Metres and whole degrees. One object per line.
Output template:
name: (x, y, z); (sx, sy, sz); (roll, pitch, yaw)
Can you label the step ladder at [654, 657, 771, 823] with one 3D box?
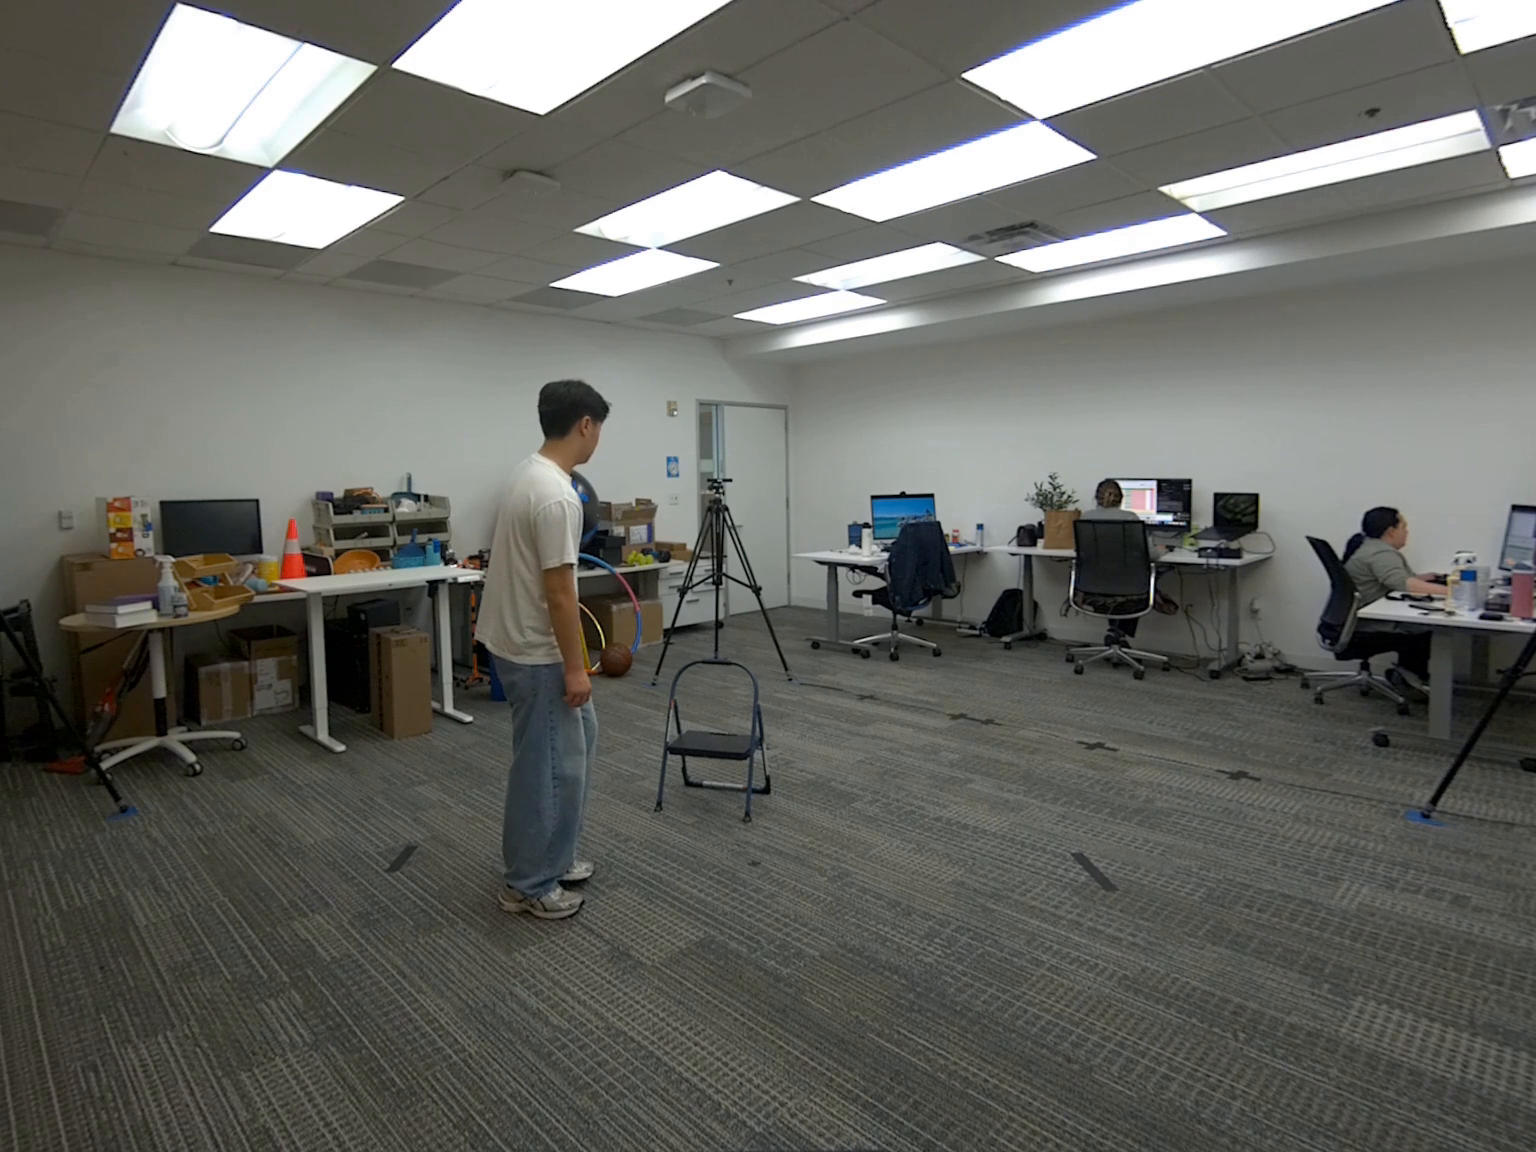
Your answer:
step ladder: (-0.236, 0.679, 3.695); (0.438, 0.604, 0.344); (0, 4, 18)
